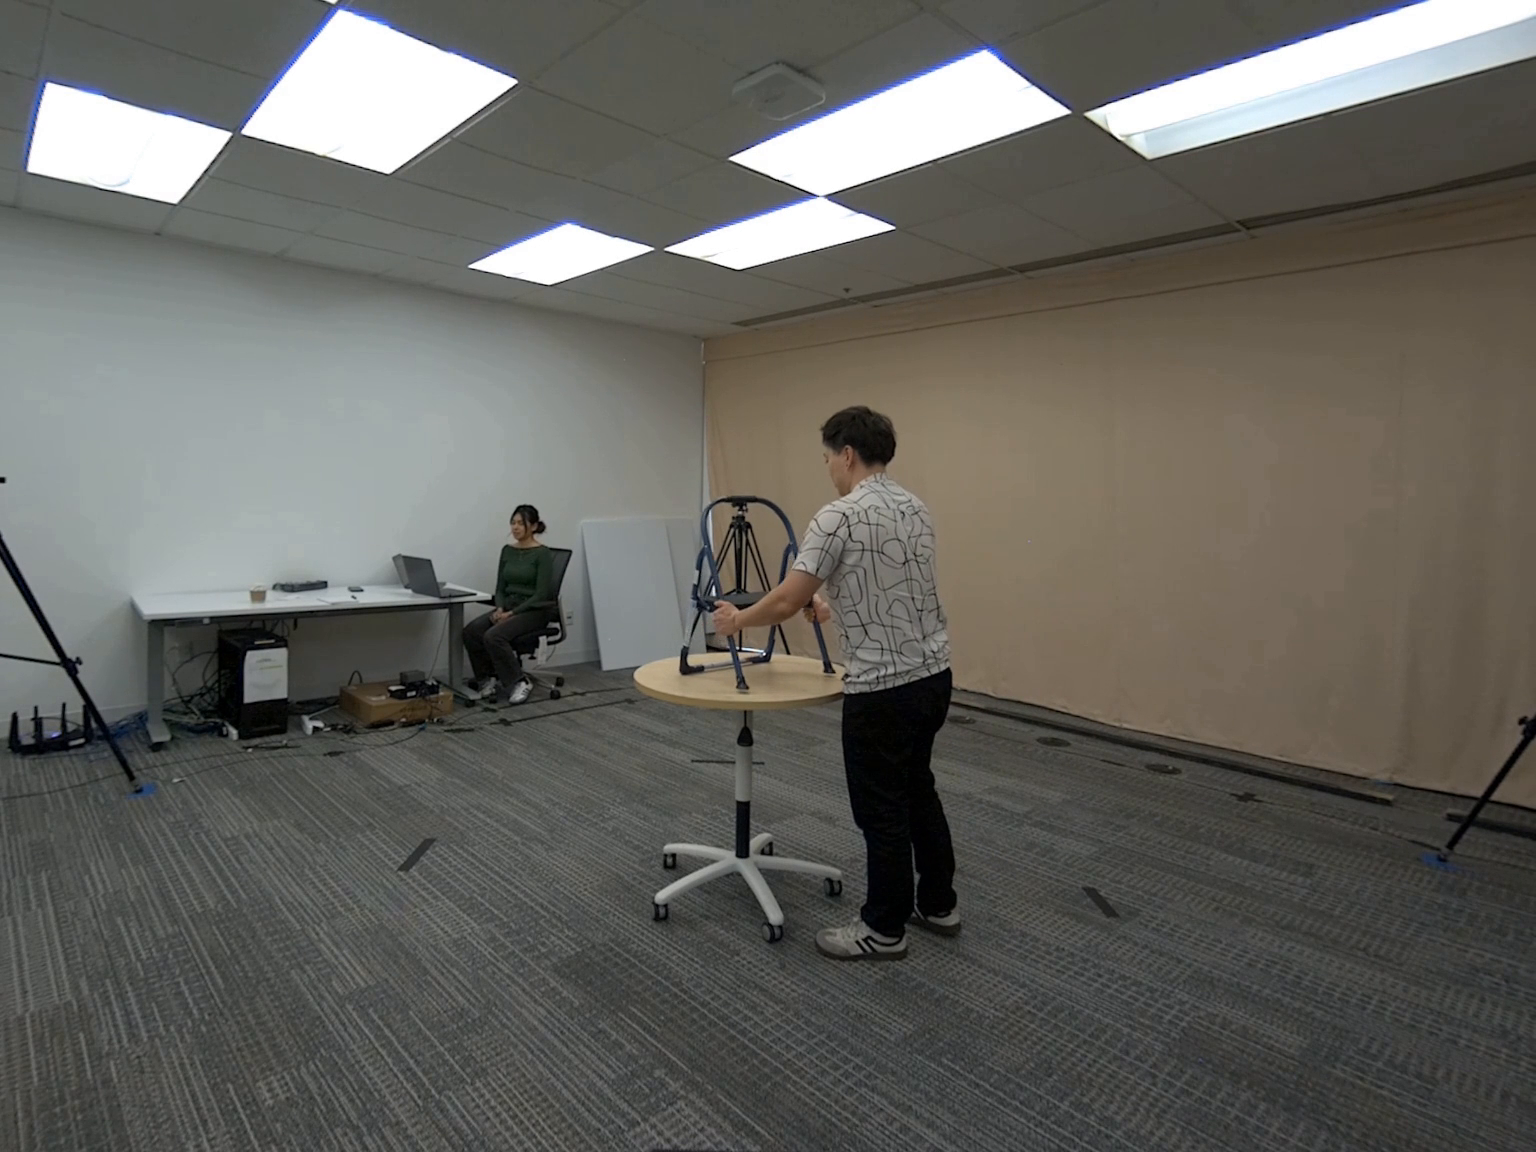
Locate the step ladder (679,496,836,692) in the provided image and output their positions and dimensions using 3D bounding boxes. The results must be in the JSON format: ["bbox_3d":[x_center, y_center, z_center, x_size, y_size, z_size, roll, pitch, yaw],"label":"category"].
[{"bbox_3d":[-0.045,0.029,2.865,0.421,0.605,0.358,-2,3,-42],"label":"step ladder"}]
